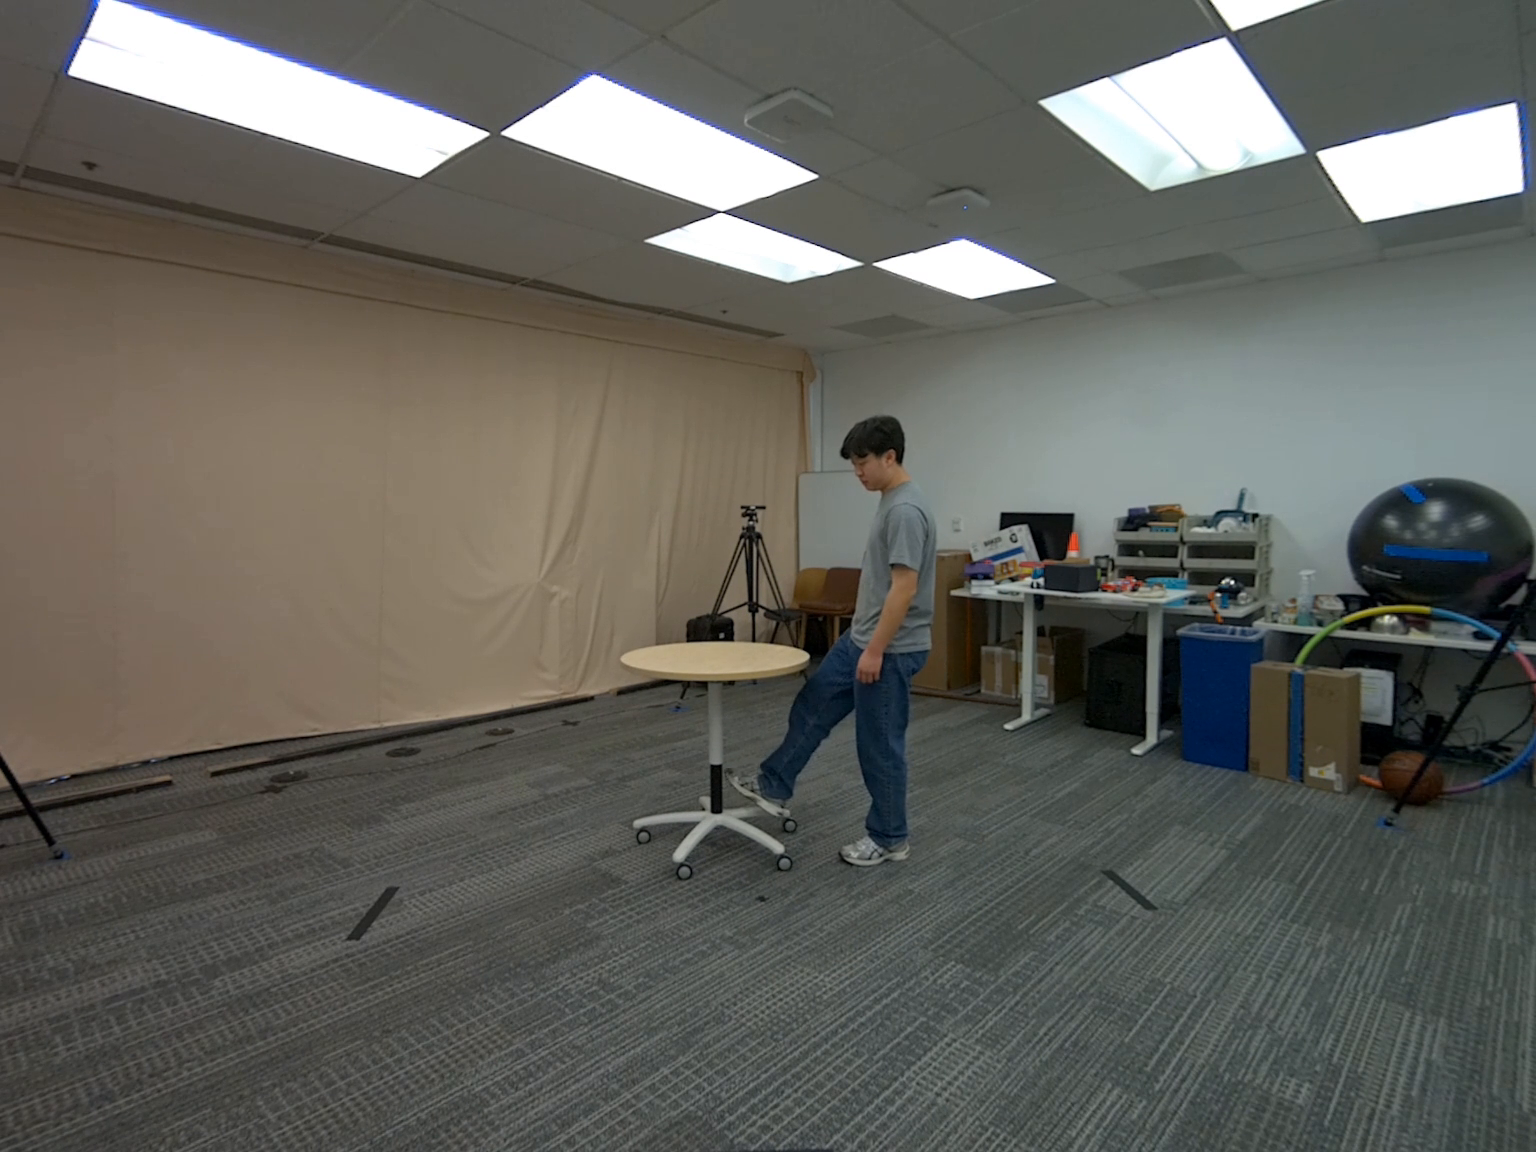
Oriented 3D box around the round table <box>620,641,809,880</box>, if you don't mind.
[{"bbox_3d":[-0.208,0.721,3.444,0.763,0.792,0.766,-1,3,-2],"label":"round table"}]
